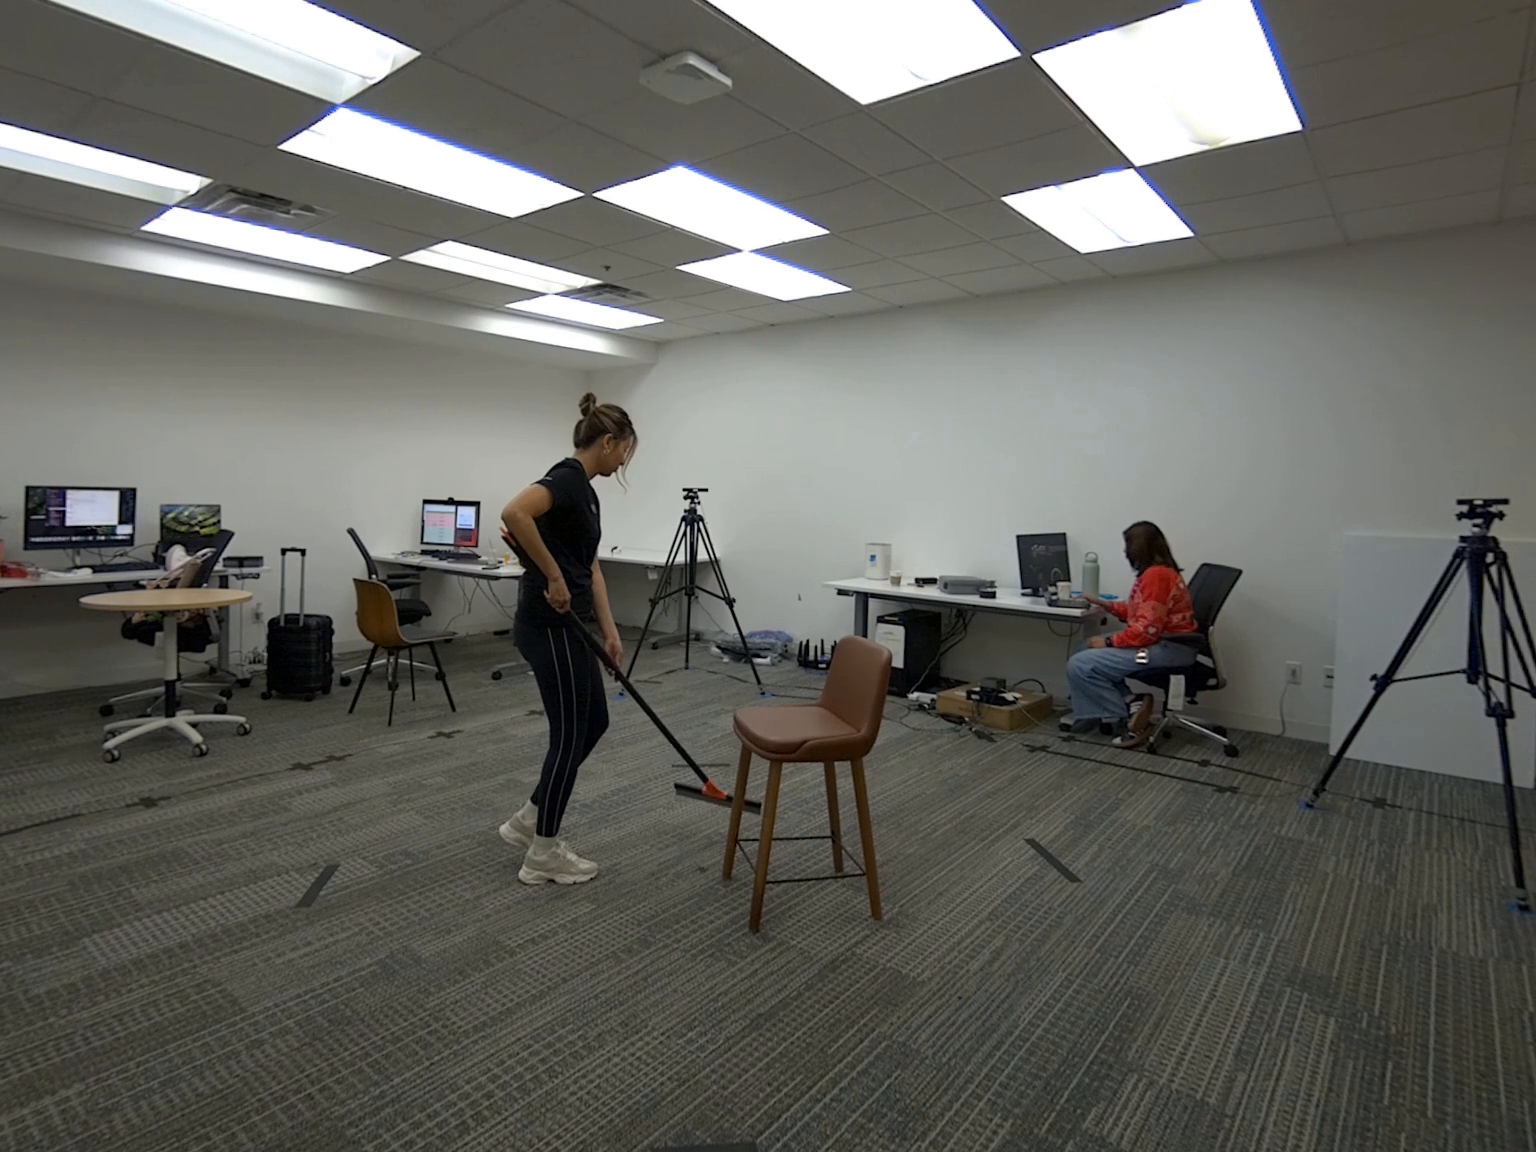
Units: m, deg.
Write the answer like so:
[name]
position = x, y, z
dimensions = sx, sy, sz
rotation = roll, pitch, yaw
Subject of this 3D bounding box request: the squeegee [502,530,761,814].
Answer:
[squeegee]
position = -0.510, 0.378, 3.013
dimensions = 0.451, 1.478, 0.053
rotation = 2, 47, 35
